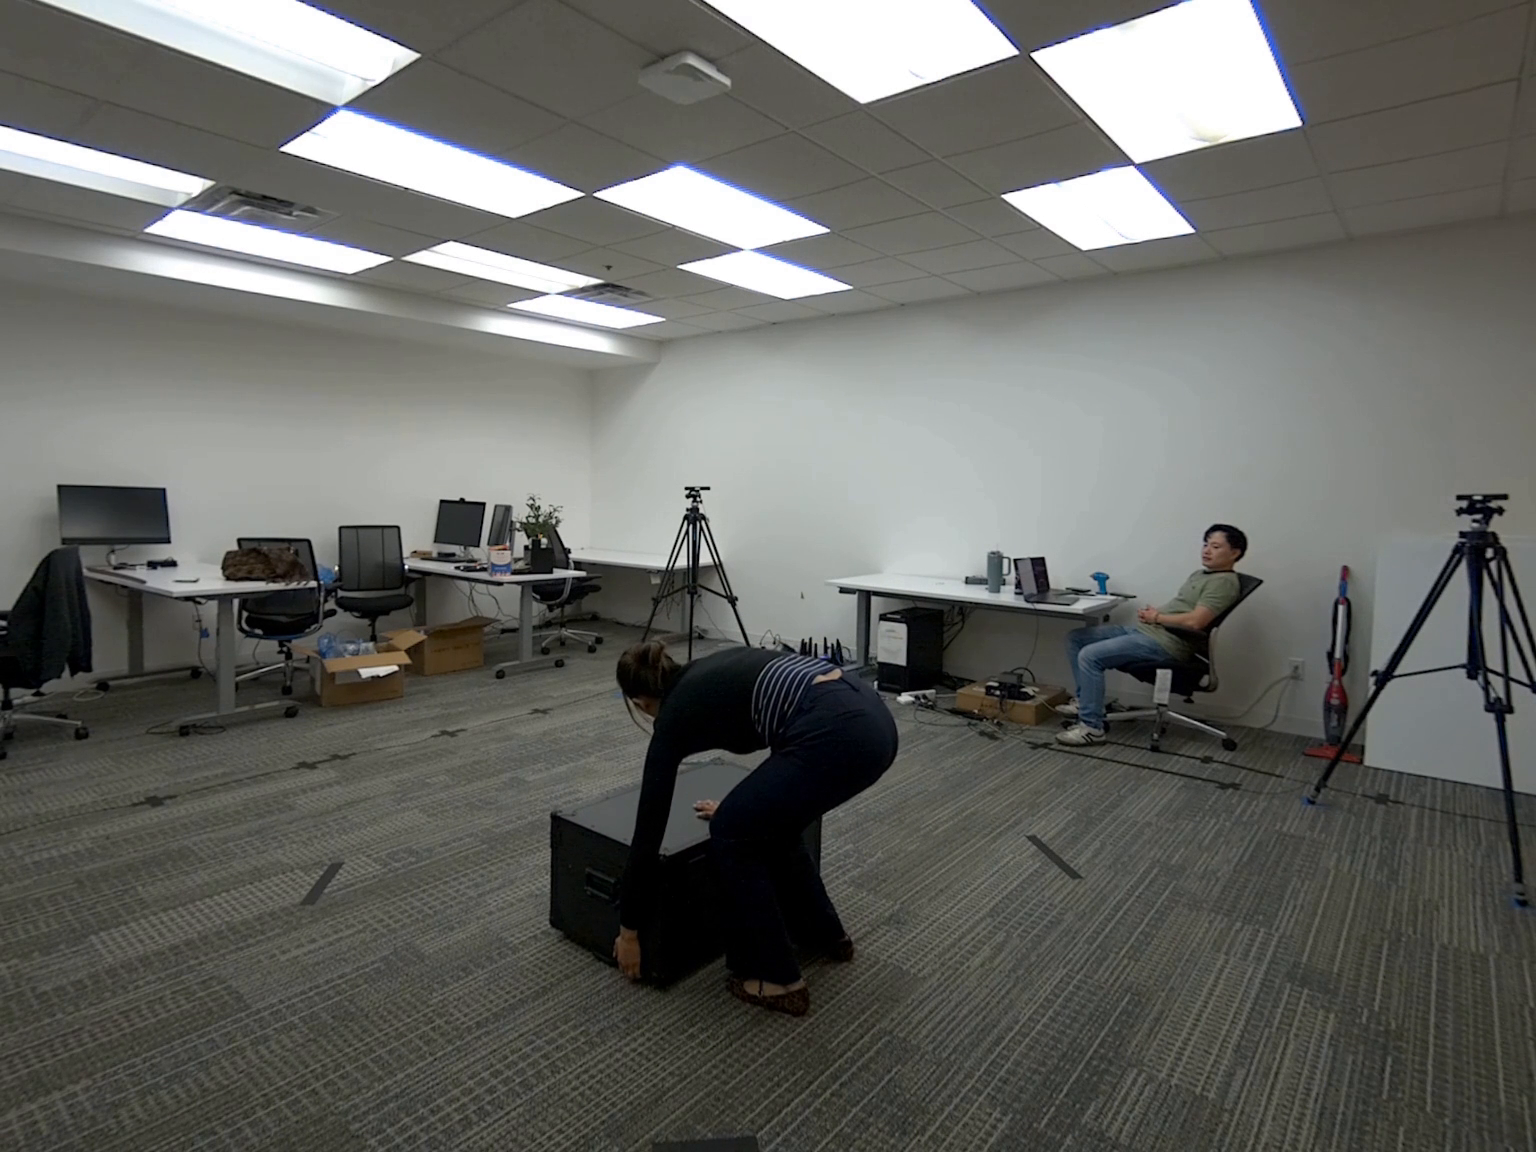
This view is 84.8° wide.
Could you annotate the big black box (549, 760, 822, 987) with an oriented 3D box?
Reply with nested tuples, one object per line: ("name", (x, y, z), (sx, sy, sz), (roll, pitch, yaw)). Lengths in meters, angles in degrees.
("big black box", (-0.276, 0.908, 2.737), (0.539, 0.395, 0.836), (5, 6, 39))
